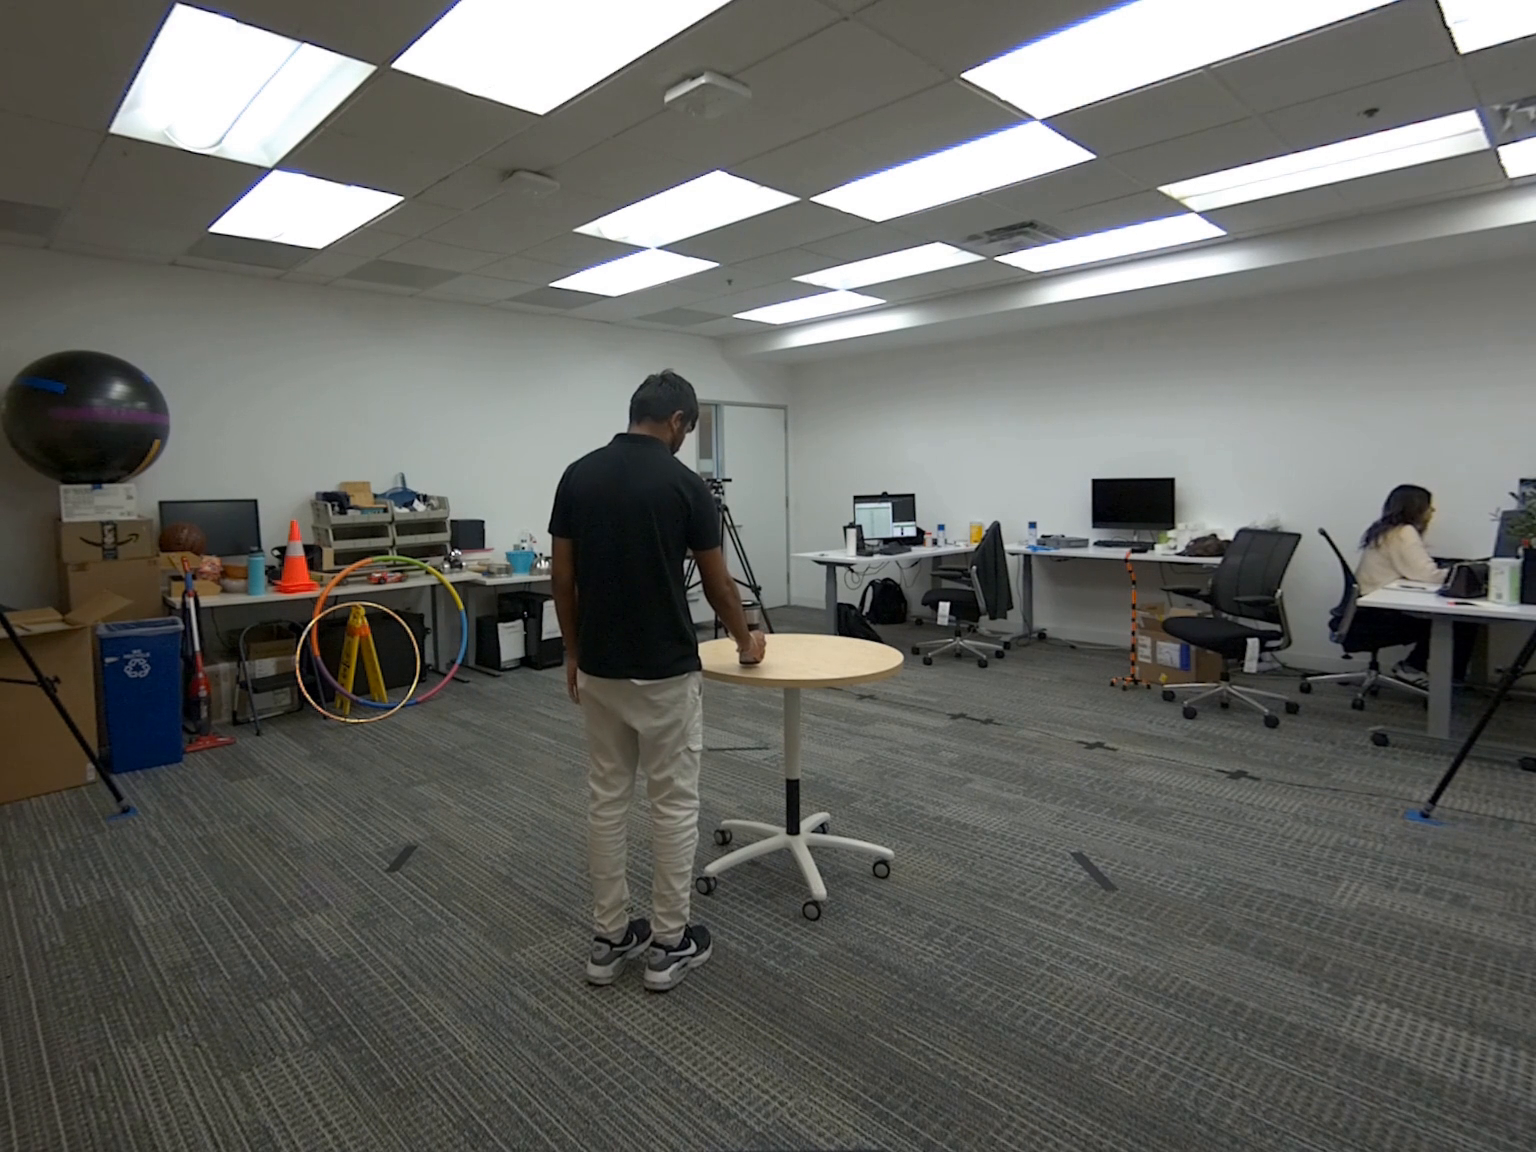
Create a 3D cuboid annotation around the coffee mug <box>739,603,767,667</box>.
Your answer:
[{"bbox_3d":[-0.080,0.187,2.804,0.125,0.202,0.086,2,5,30],"label":"coffee mug"}]
